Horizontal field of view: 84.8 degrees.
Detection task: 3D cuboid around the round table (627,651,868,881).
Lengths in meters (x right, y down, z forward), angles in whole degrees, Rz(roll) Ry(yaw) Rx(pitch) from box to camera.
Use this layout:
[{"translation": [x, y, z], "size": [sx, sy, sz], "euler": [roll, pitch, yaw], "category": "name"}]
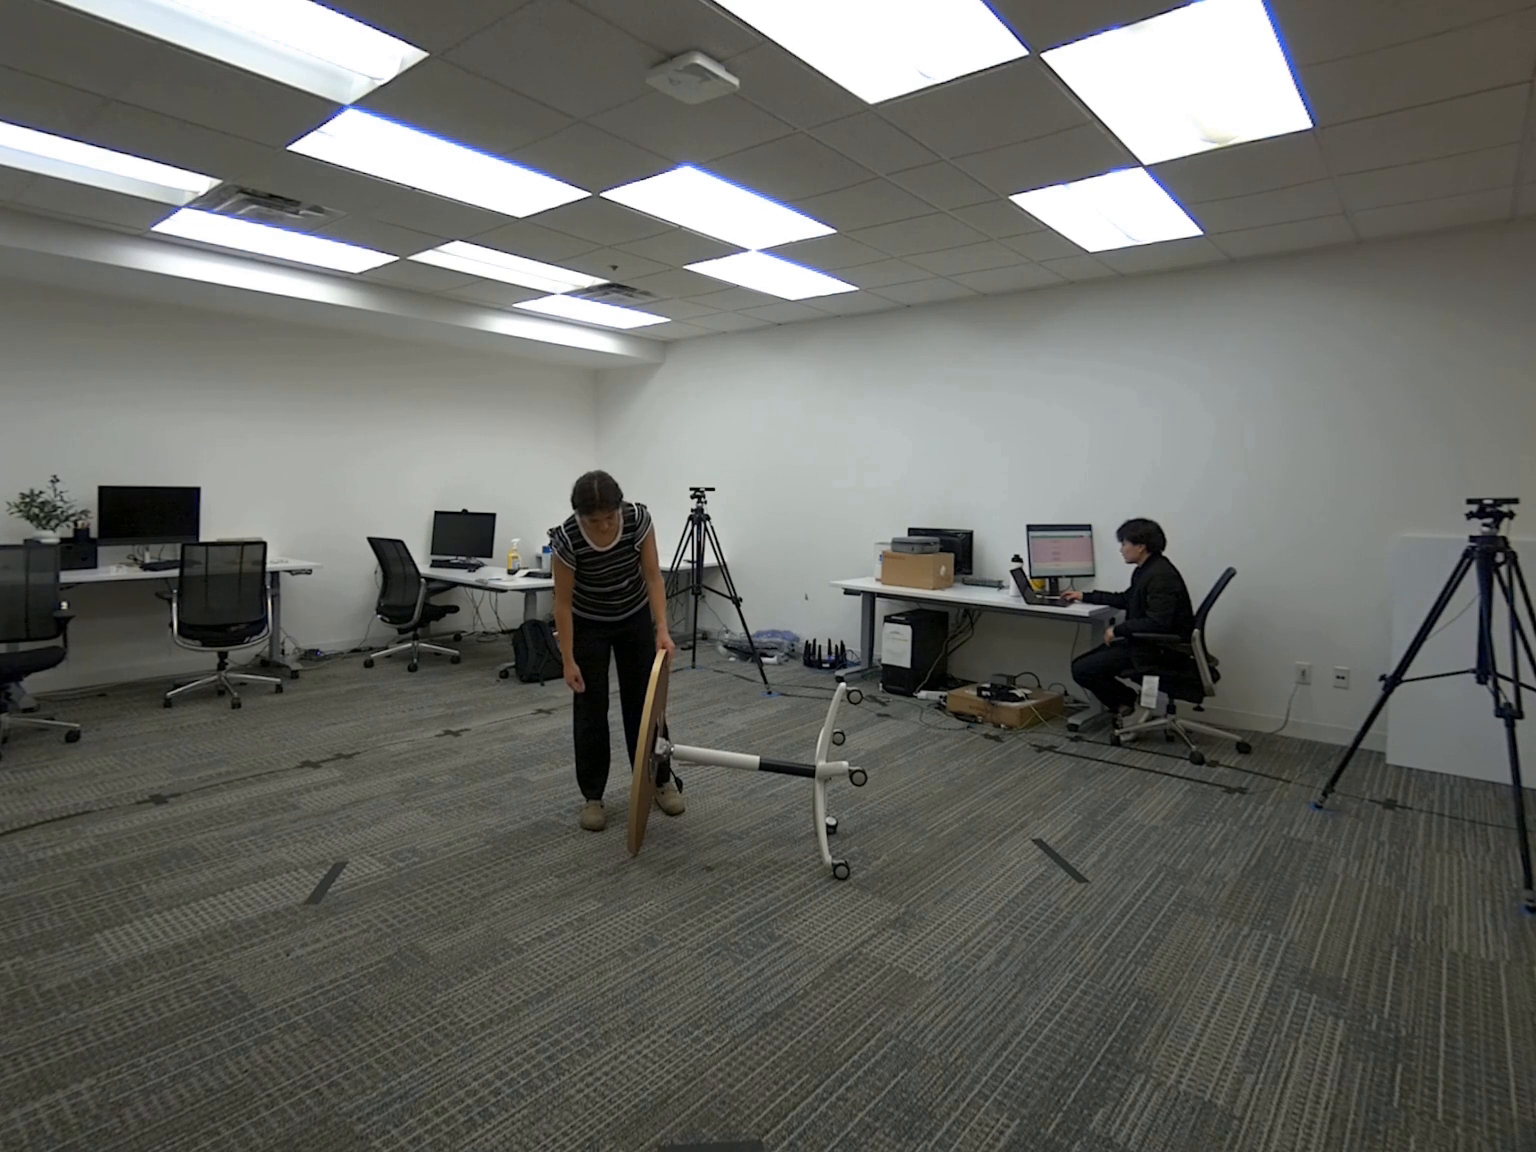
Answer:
[{"translation": [-0.076, 0.715, 3.279], "size": [0.789, 0.783, 0.786], "euler": [7, 4, 1], "category": "round table"}]
